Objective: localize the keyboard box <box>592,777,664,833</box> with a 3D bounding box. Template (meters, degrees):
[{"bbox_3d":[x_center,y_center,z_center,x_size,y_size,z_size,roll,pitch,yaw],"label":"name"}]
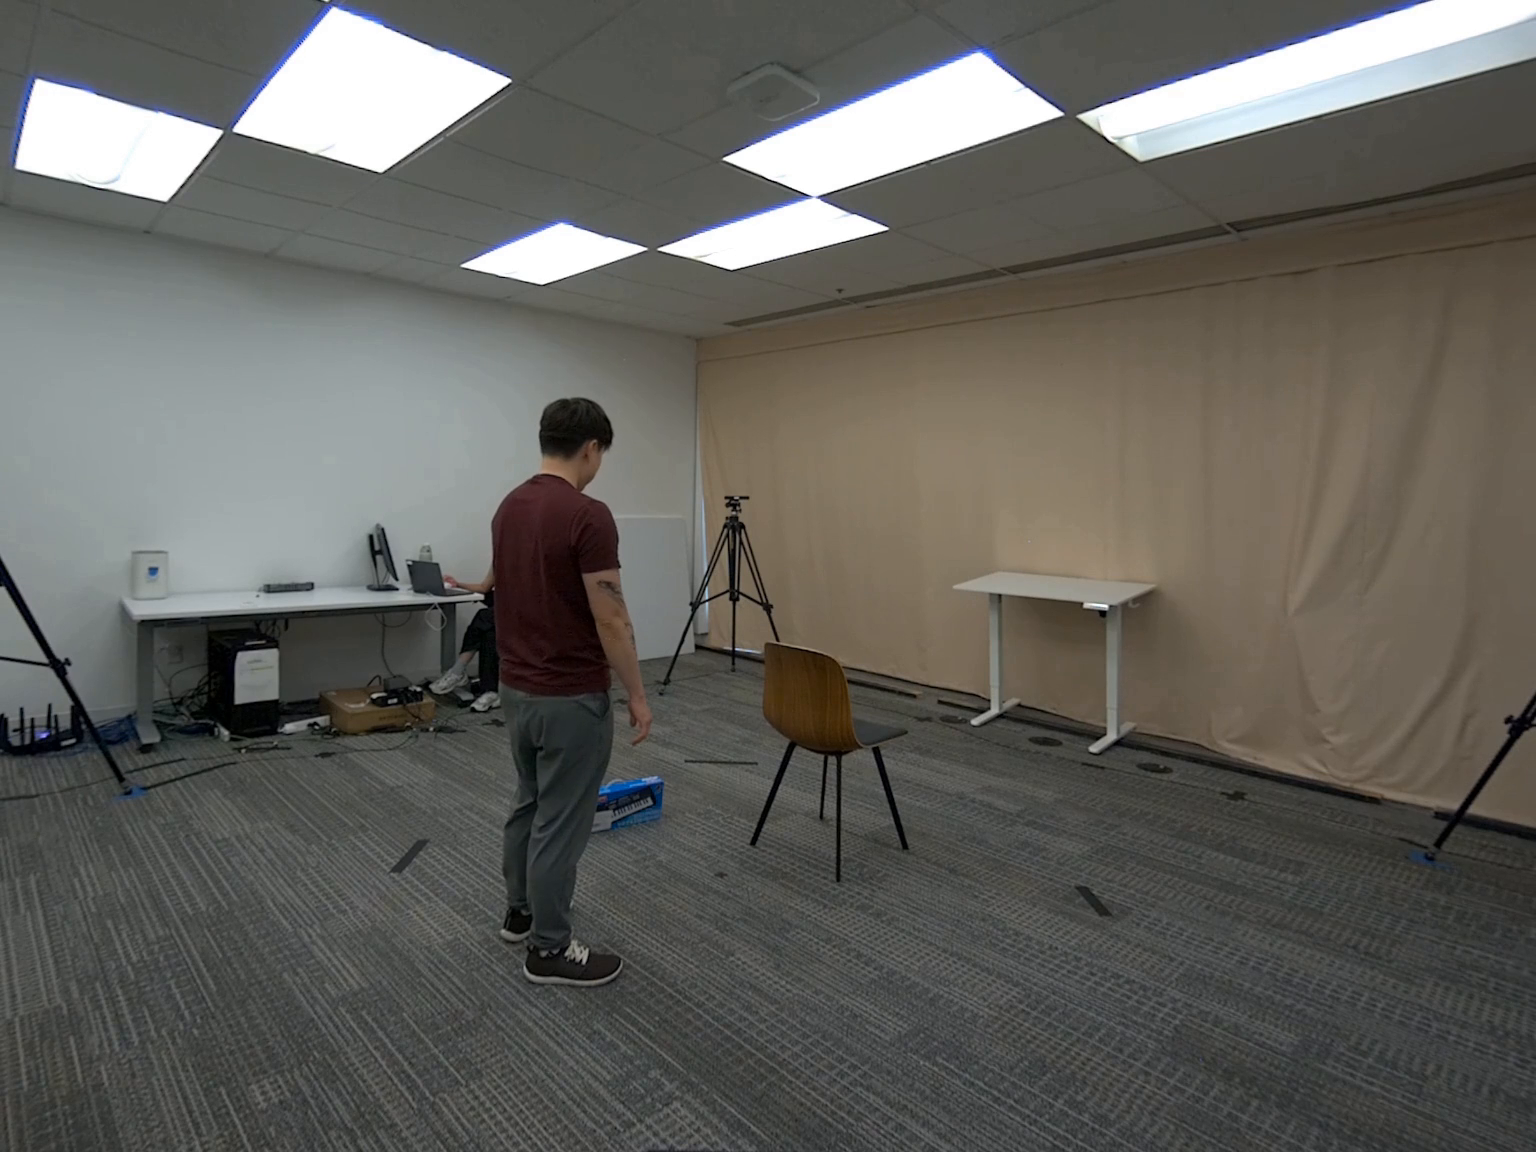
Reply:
[{"bbox_3d":[-0.649,0.963,3.526,0.427,0.175,0.061,-3,12,-35],"label":"keyboard box"}]
